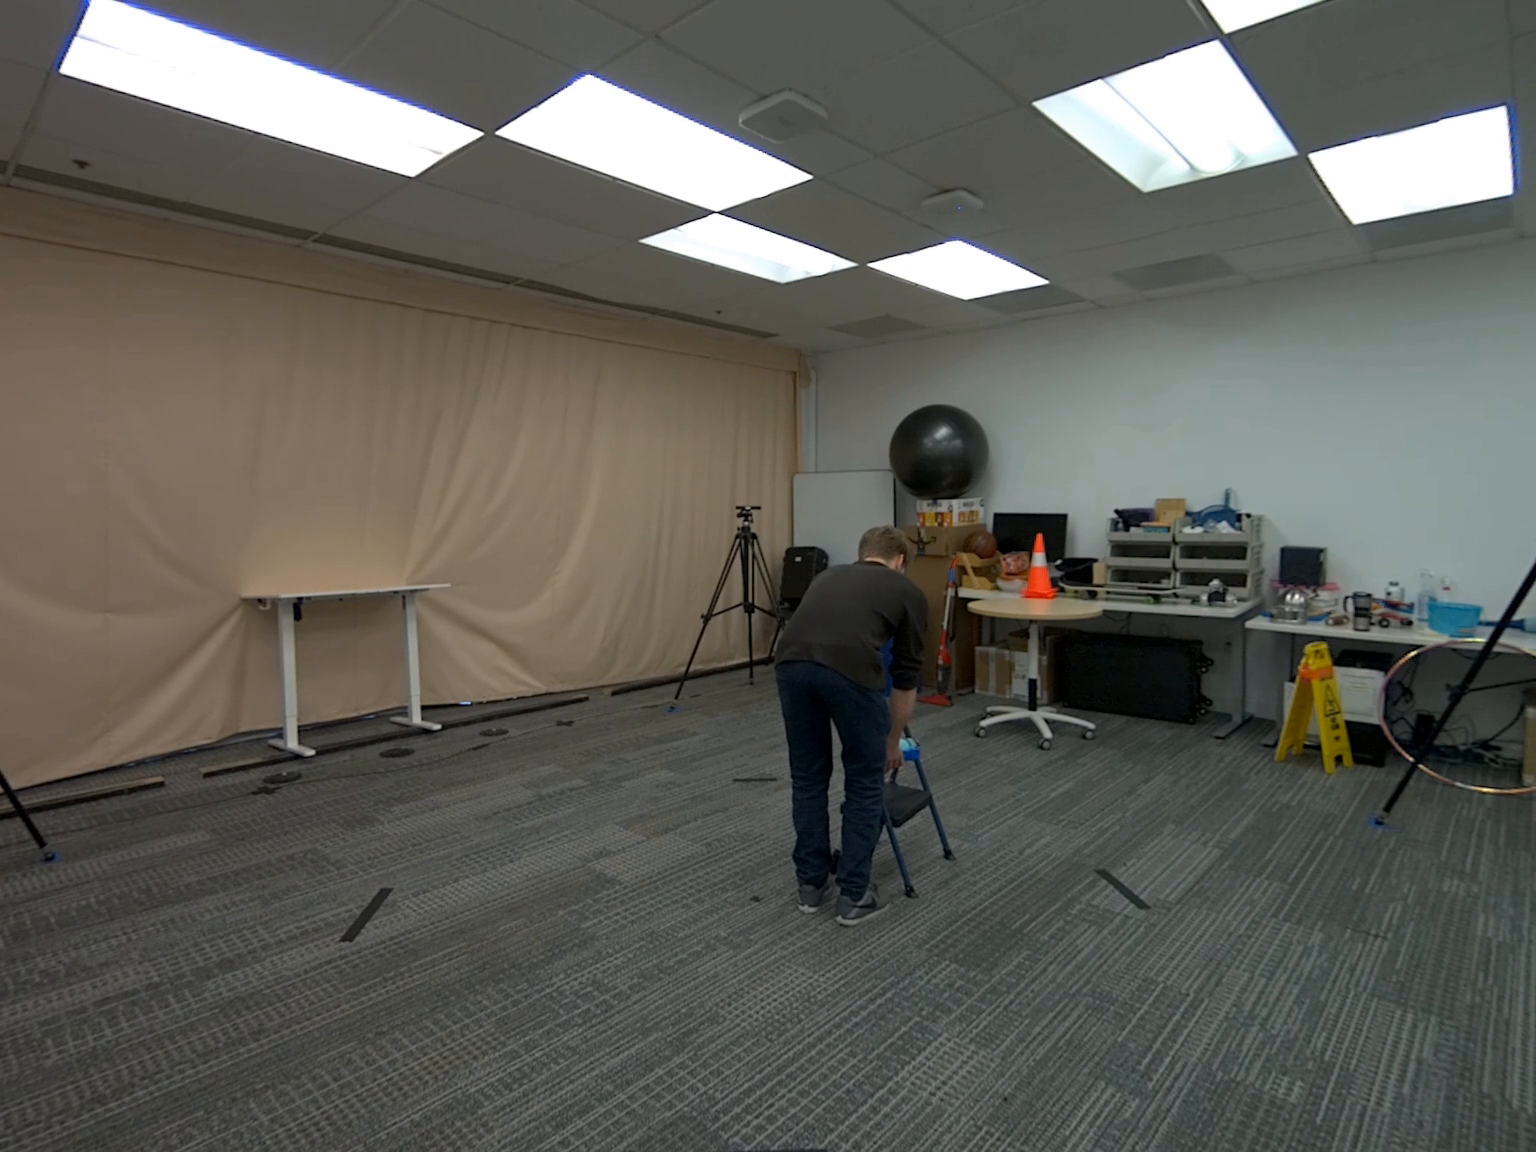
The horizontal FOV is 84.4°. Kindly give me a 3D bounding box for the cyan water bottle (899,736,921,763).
[{"bbox_3d":[0.464,0.686,3.220,0.279,0.092,0.094,-9,6,-15],"label":"cyan water bottle"}]
